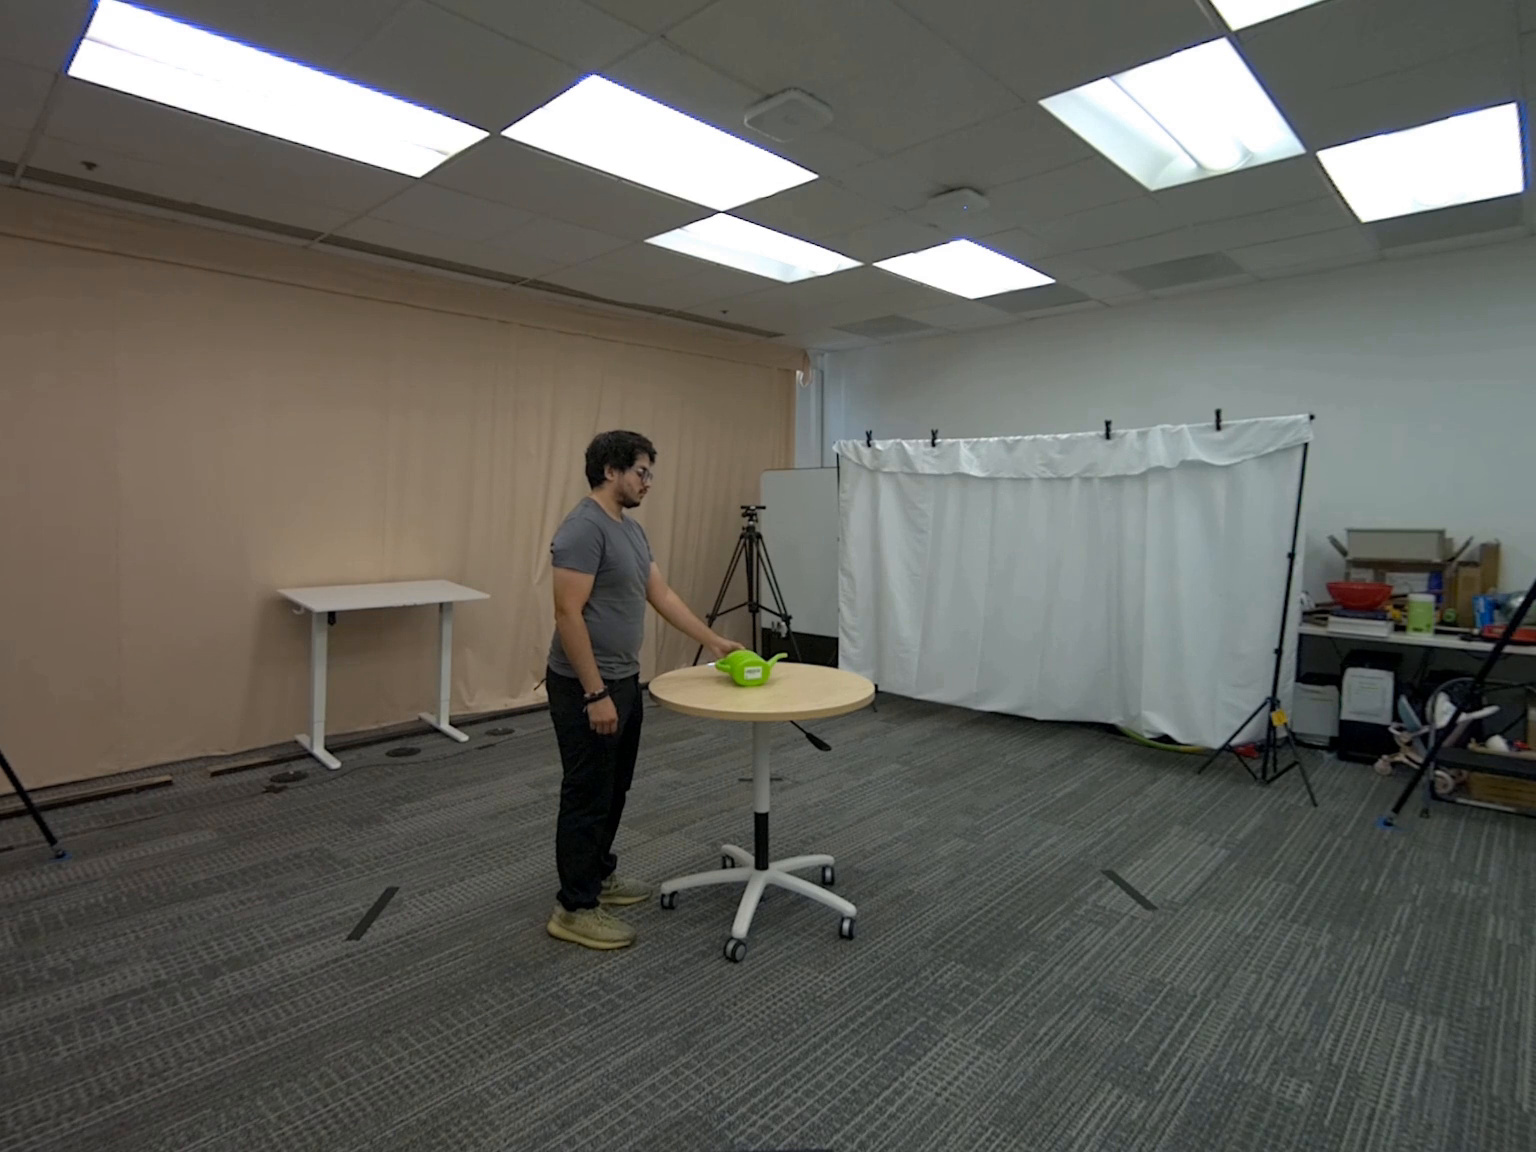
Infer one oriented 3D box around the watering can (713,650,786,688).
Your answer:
[{"bbox_3d":[-0.034,0.300,2.902,0.275,0.097,0.181,-17,15,-15],"label":"watering can"}]
